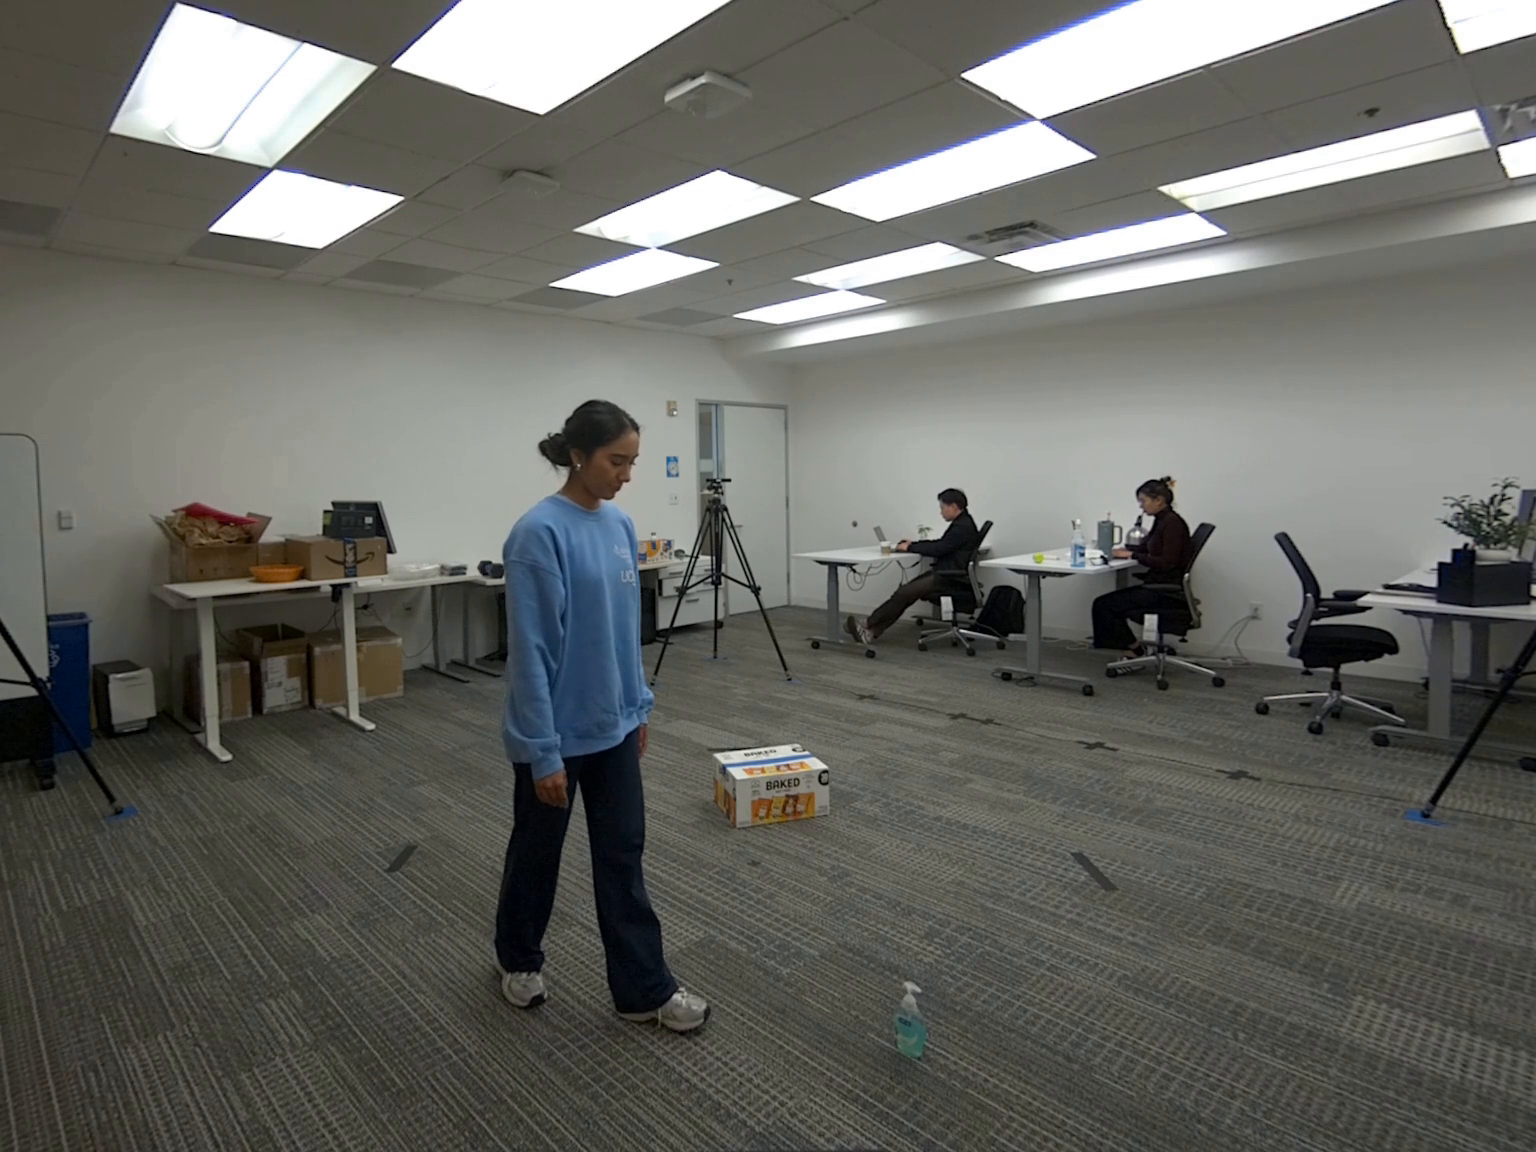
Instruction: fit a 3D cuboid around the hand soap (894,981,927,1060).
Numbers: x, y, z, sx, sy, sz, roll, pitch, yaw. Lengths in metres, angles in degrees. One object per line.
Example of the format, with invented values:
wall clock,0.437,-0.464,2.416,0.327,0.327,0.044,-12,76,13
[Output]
hand soap,0.346,1.069,2.078,0.087,0.167,0.042,3,7,41
